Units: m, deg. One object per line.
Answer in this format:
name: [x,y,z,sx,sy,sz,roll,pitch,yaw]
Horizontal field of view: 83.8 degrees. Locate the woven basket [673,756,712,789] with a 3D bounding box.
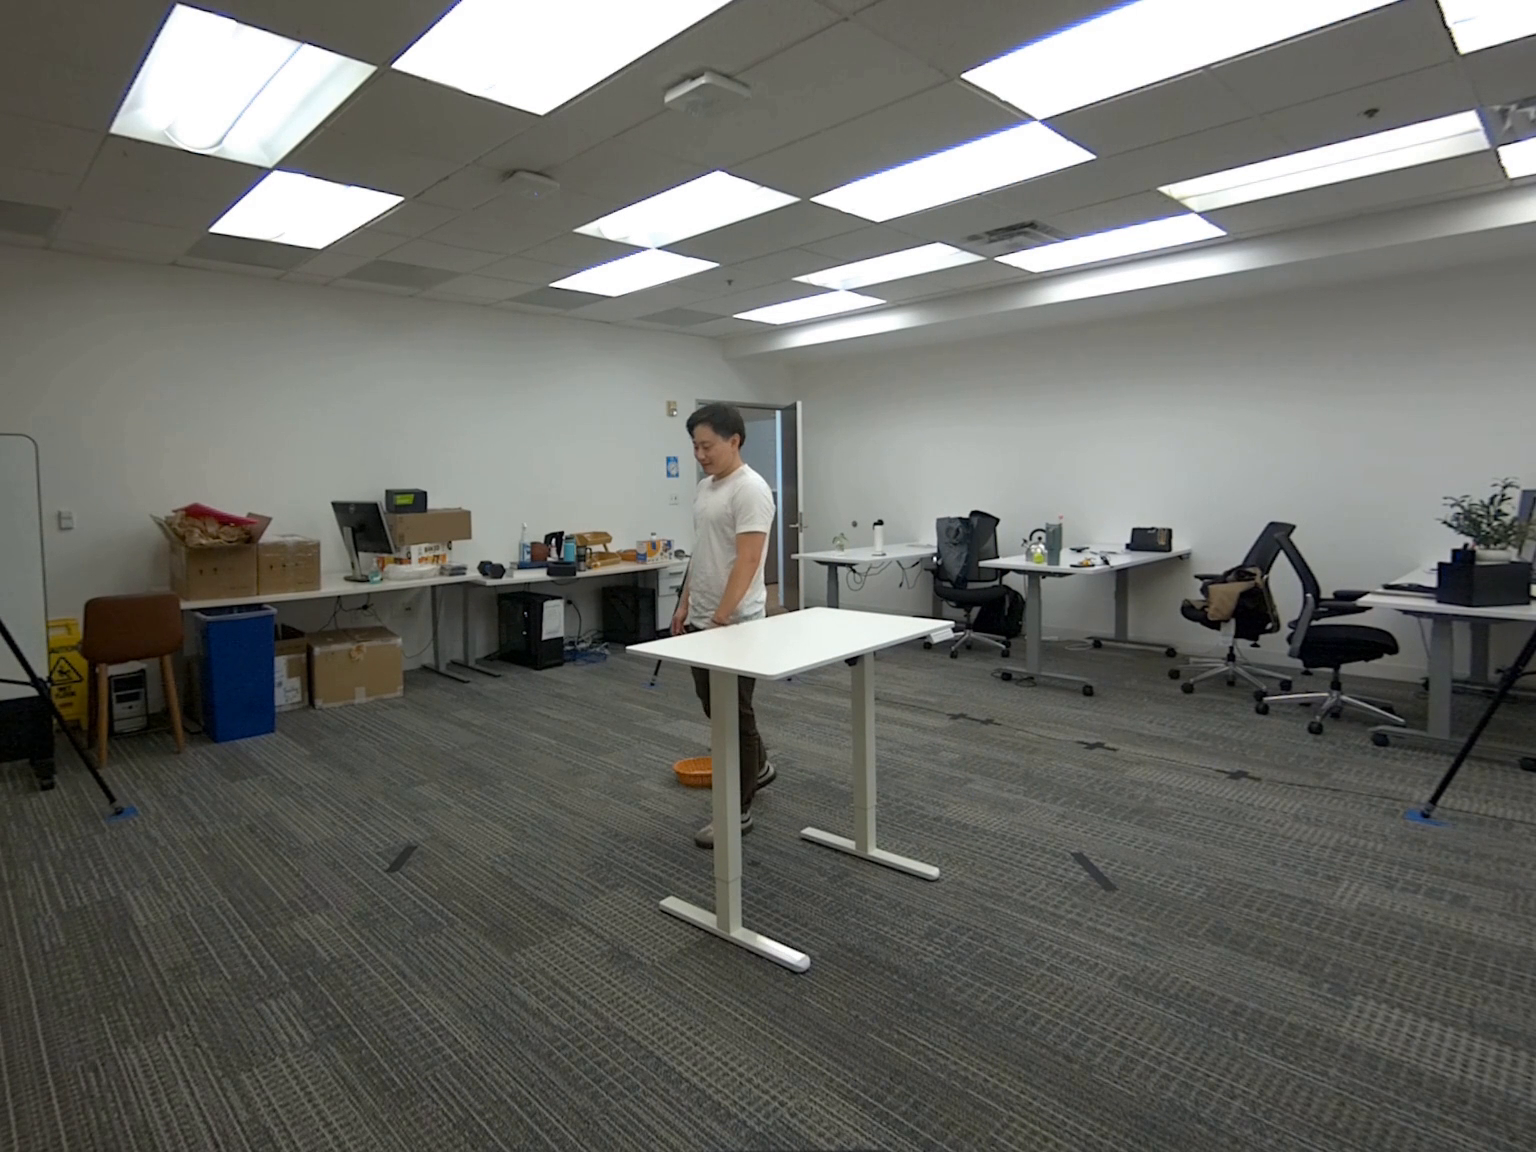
woven basket: [-0.271,0.913,3.985,0.350,0.073,0.253,-2,5,0]
